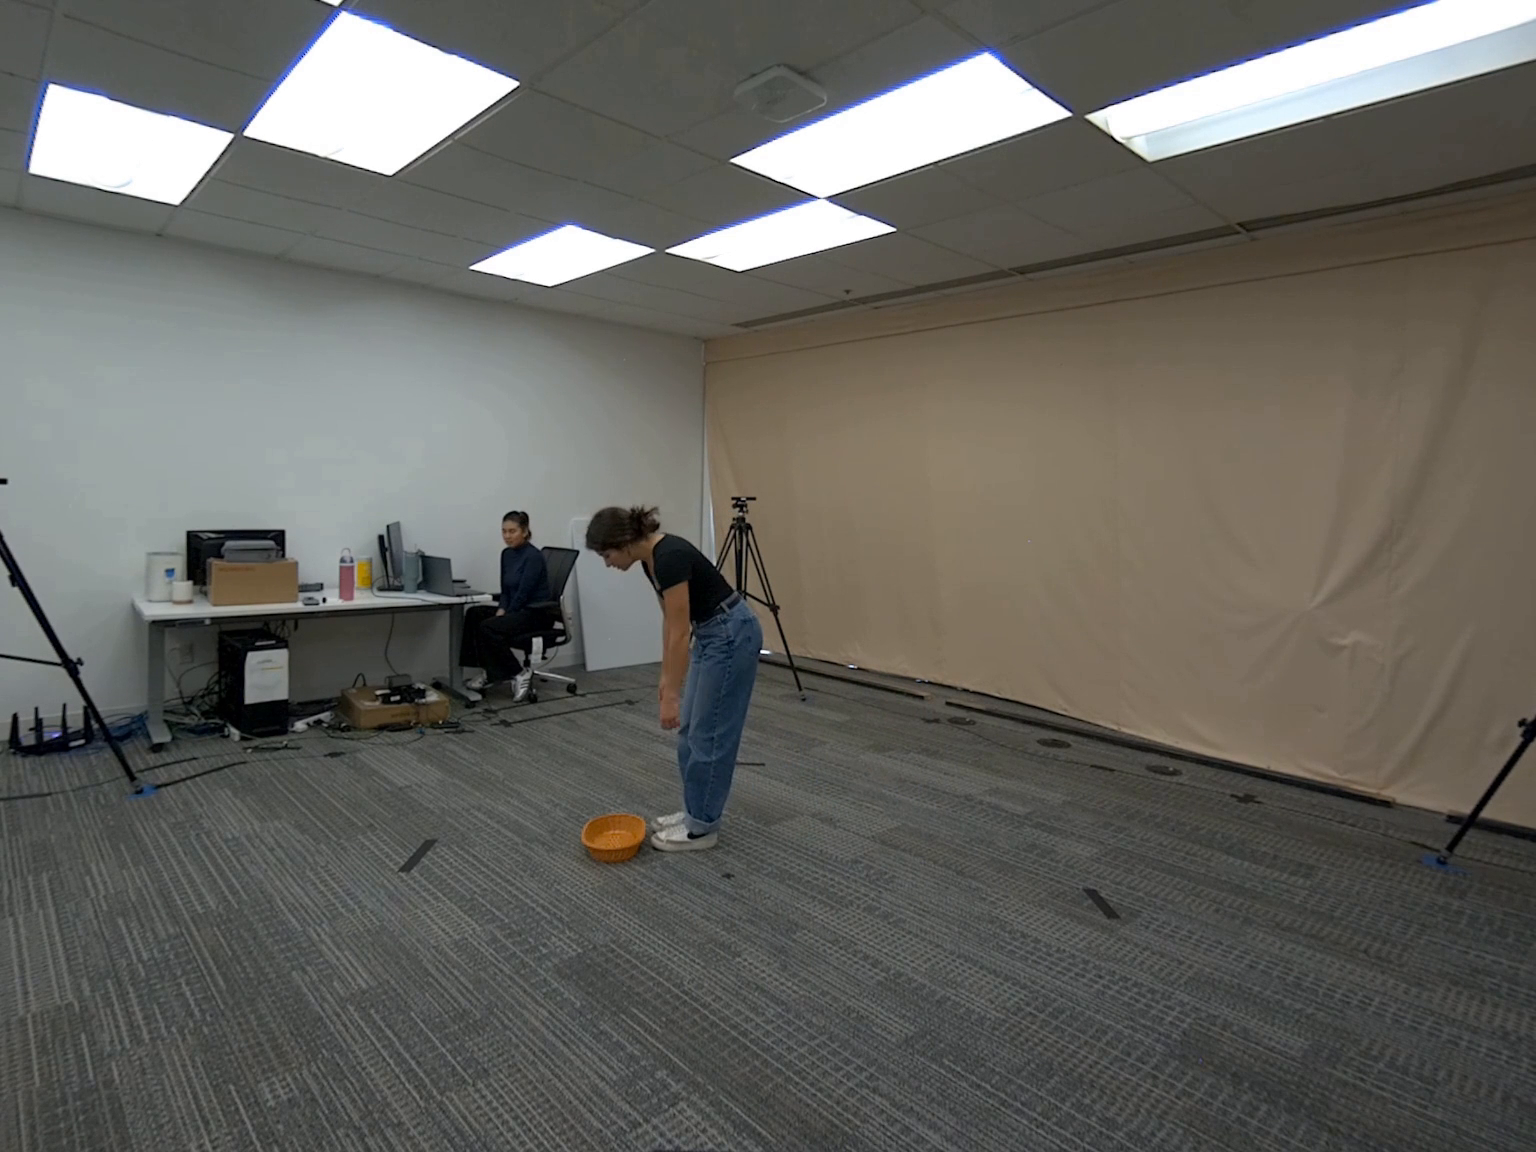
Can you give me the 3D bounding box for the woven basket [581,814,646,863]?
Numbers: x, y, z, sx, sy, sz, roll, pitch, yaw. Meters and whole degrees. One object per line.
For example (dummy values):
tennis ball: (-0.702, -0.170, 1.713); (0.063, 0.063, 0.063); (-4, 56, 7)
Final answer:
woven basket: (-0.620, 1.040, 3.325); (0.252, 0.073, 0.352); (0, 6, -3)
